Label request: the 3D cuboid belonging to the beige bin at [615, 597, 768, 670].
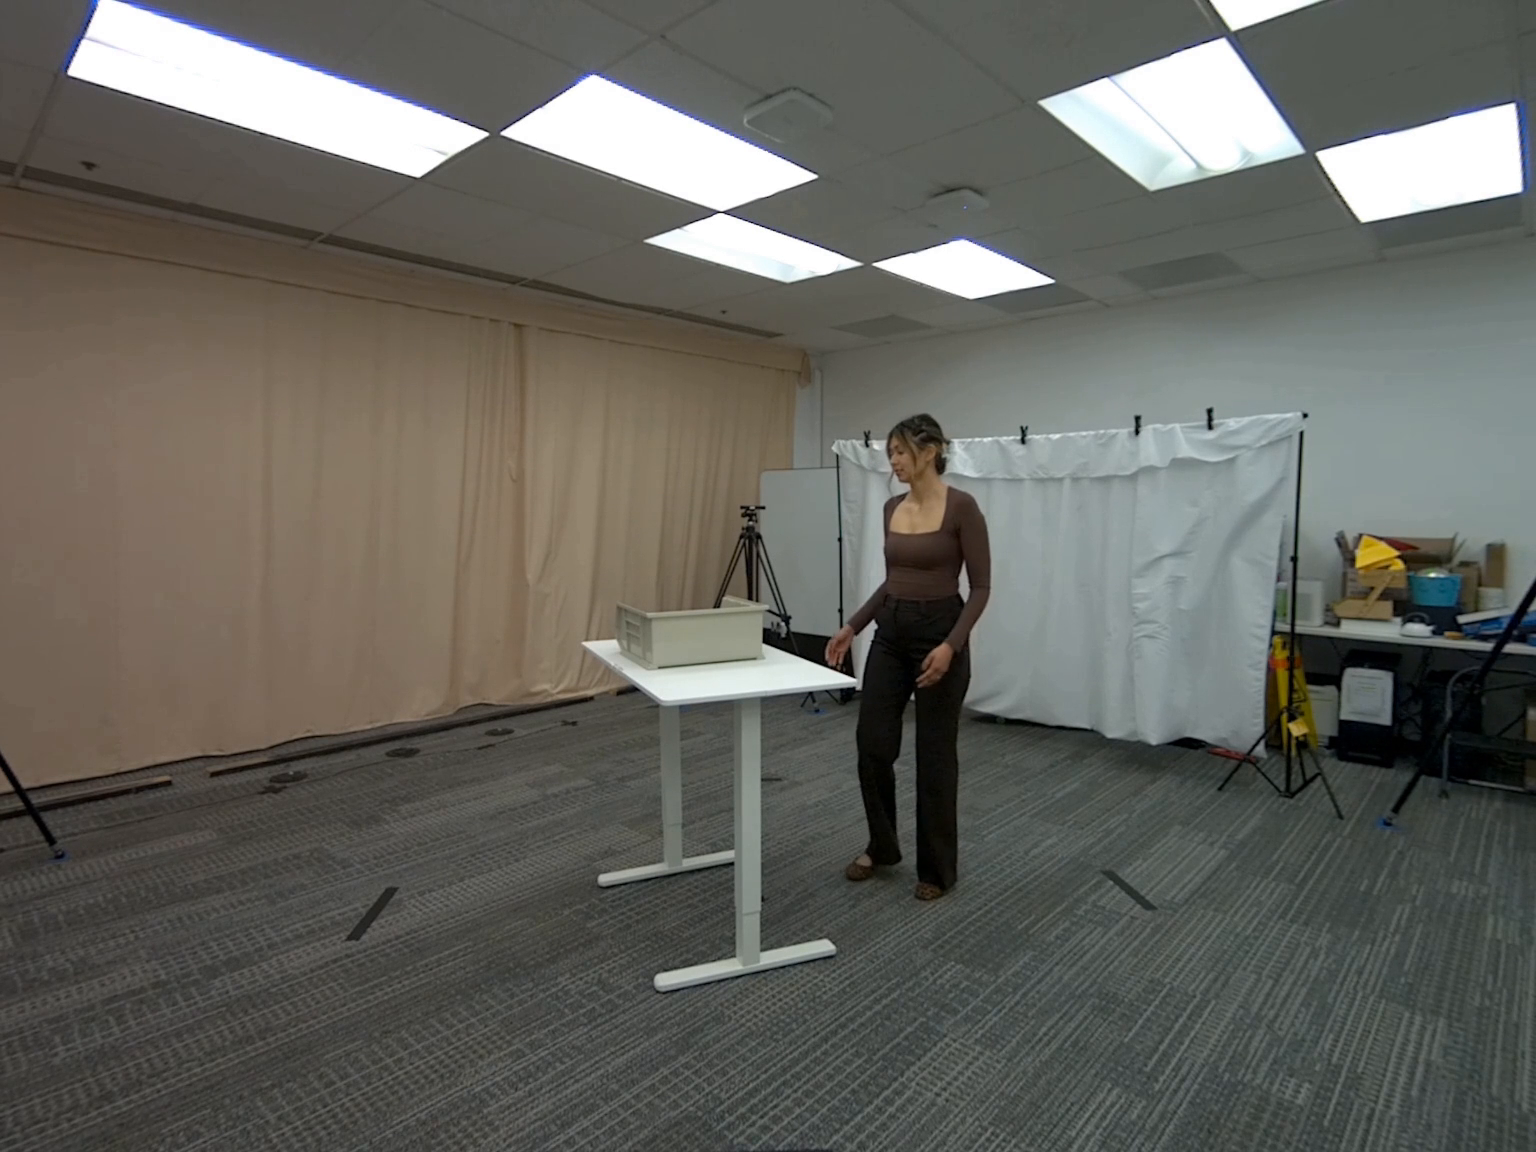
[{"bbox_3d":[-0.275,0.186,2.860,0.412,0.188,0.387,-2,6,-25],"label":"beige bin"}]
